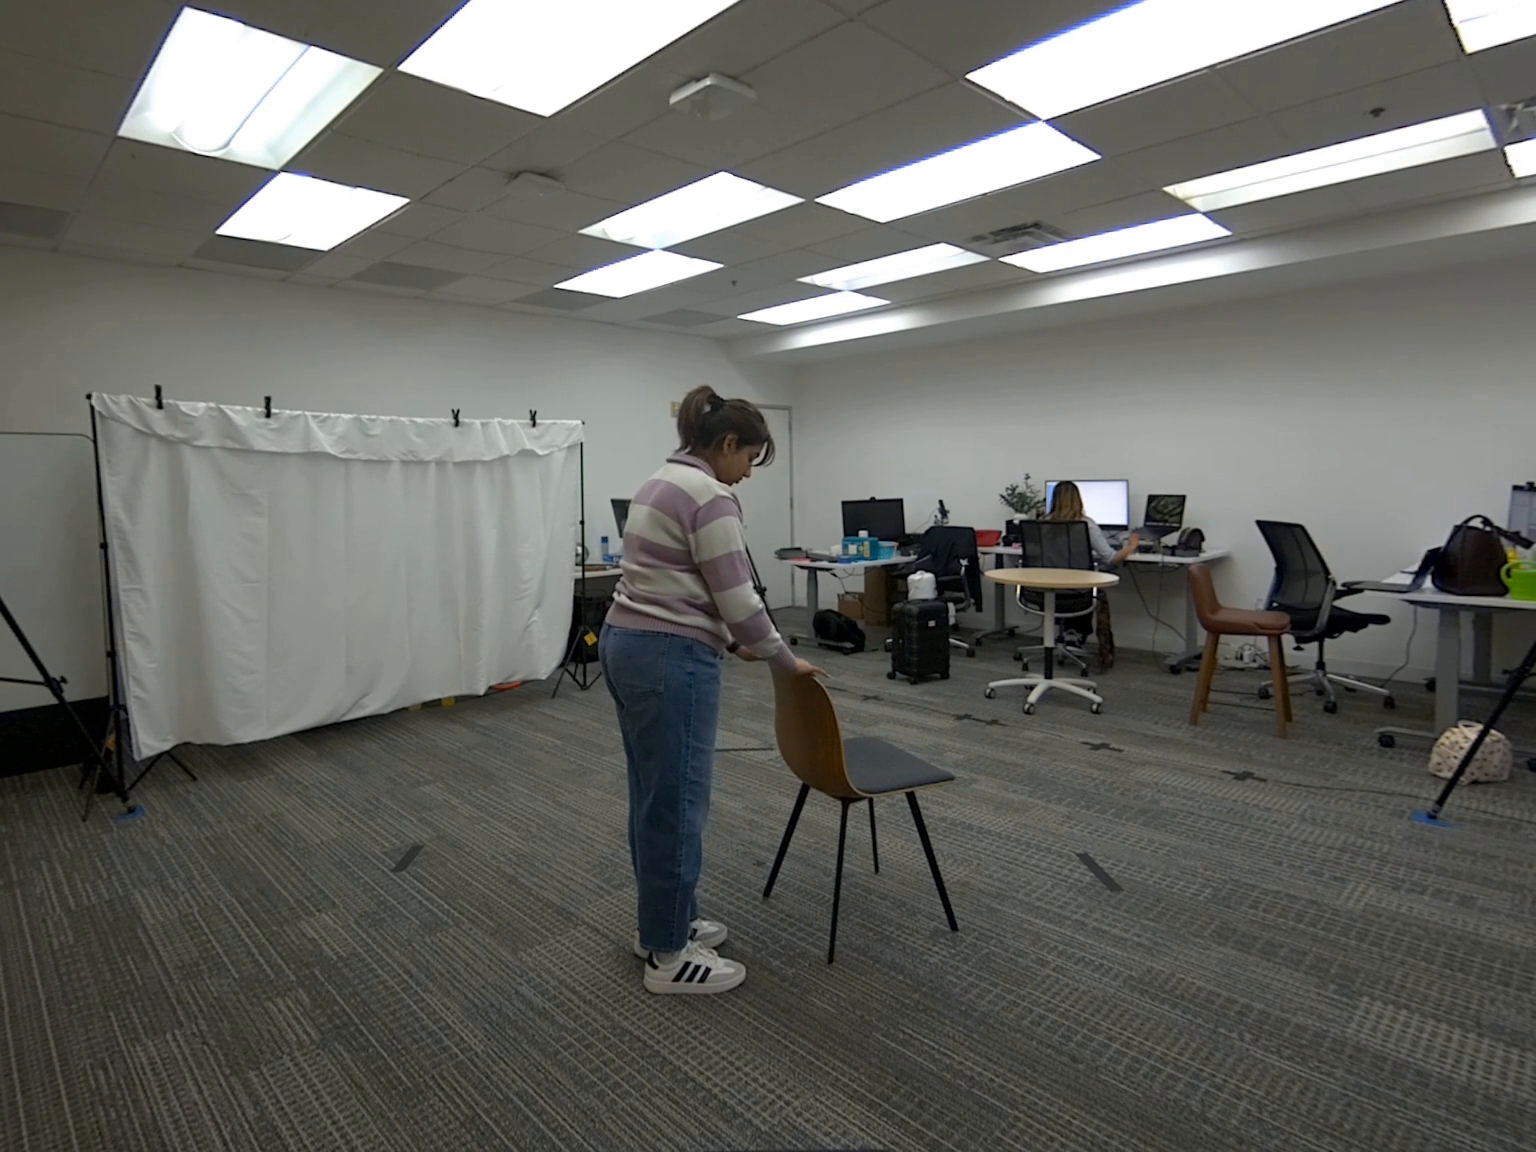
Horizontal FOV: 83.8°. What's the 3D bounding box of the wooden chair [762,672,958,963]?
[{"bbox_3d":[0.290,0.659,2.716,0.513,0.873,0.489,-7,6,-24],"label":"wooden chair"}]
